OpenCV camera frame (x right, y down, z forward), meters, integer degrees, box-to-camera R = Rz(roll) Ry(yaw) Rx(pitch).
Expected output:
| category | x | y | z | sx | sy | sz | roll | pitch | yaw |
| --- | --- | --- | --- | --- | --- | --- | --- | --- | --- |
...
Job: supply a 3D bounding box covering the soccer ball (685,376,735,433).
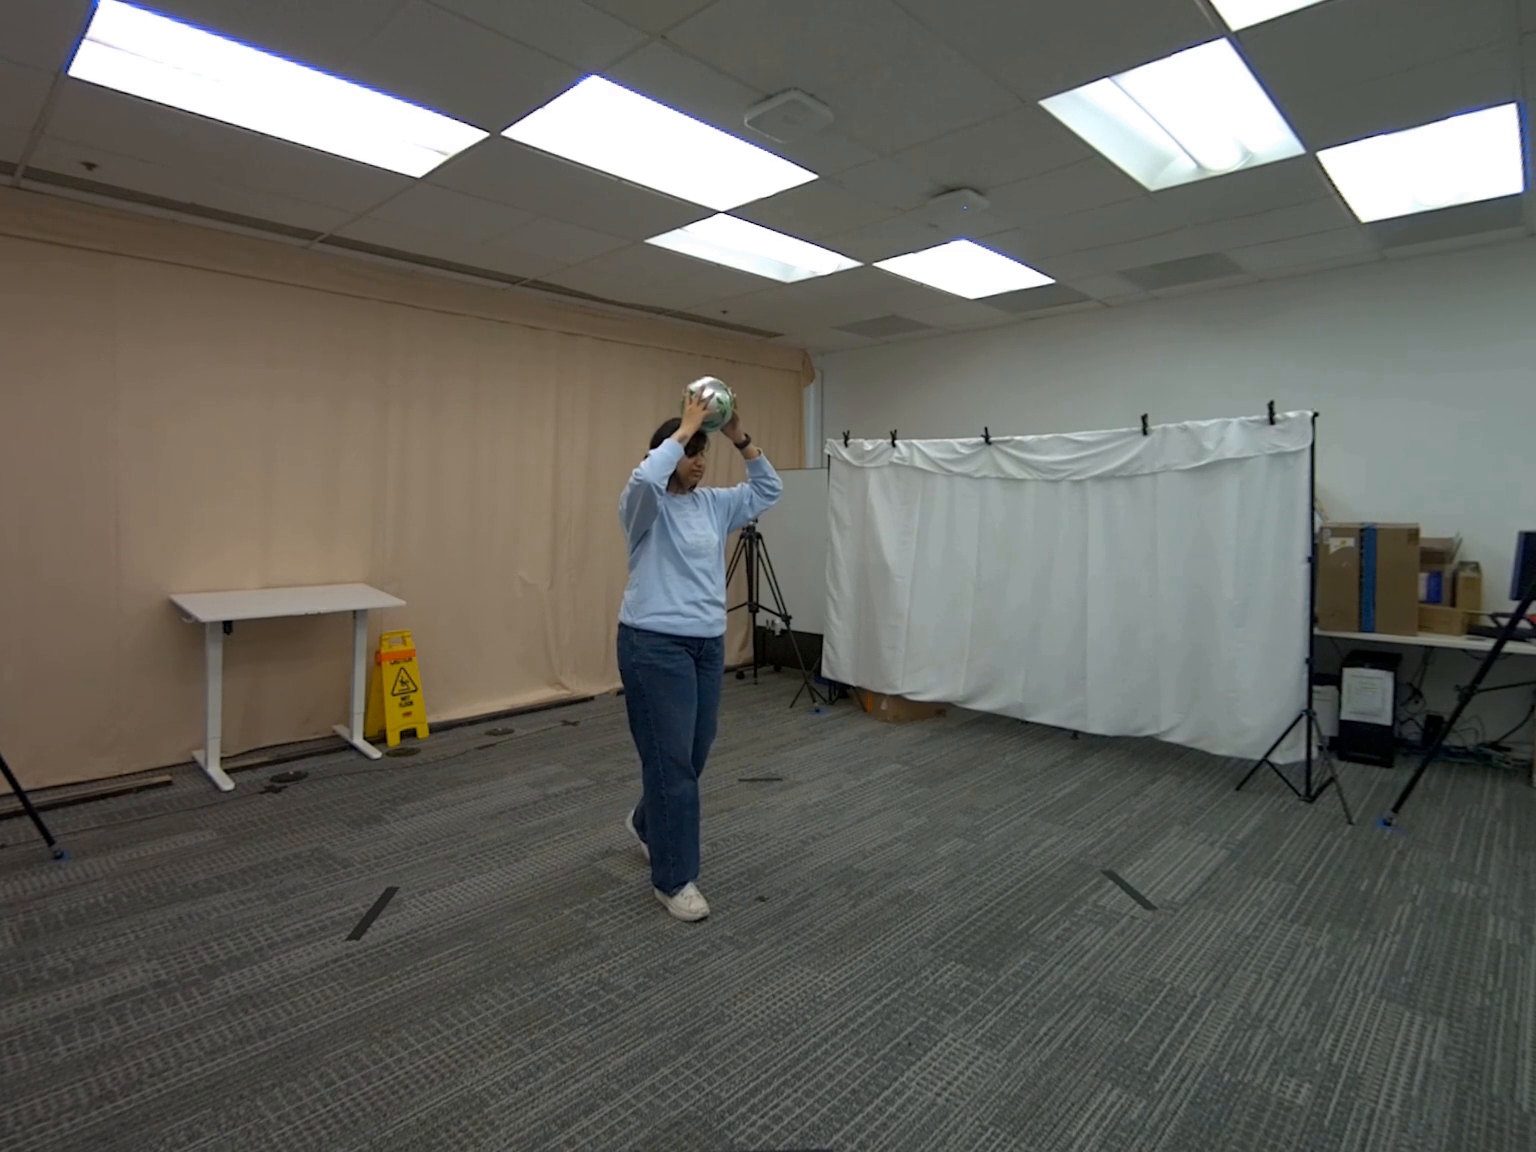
| category | x | y | z | sx | sy | sz | roll | pitch | yaw |
| --- | --- | --- | --- | --- | --- | --- | --- | --- | --- |
| soccer ball | -0.205 | -0.582 | 2.881 | 0.187 | 0.187 | 0.188 | 0 | 4 | -2 |
